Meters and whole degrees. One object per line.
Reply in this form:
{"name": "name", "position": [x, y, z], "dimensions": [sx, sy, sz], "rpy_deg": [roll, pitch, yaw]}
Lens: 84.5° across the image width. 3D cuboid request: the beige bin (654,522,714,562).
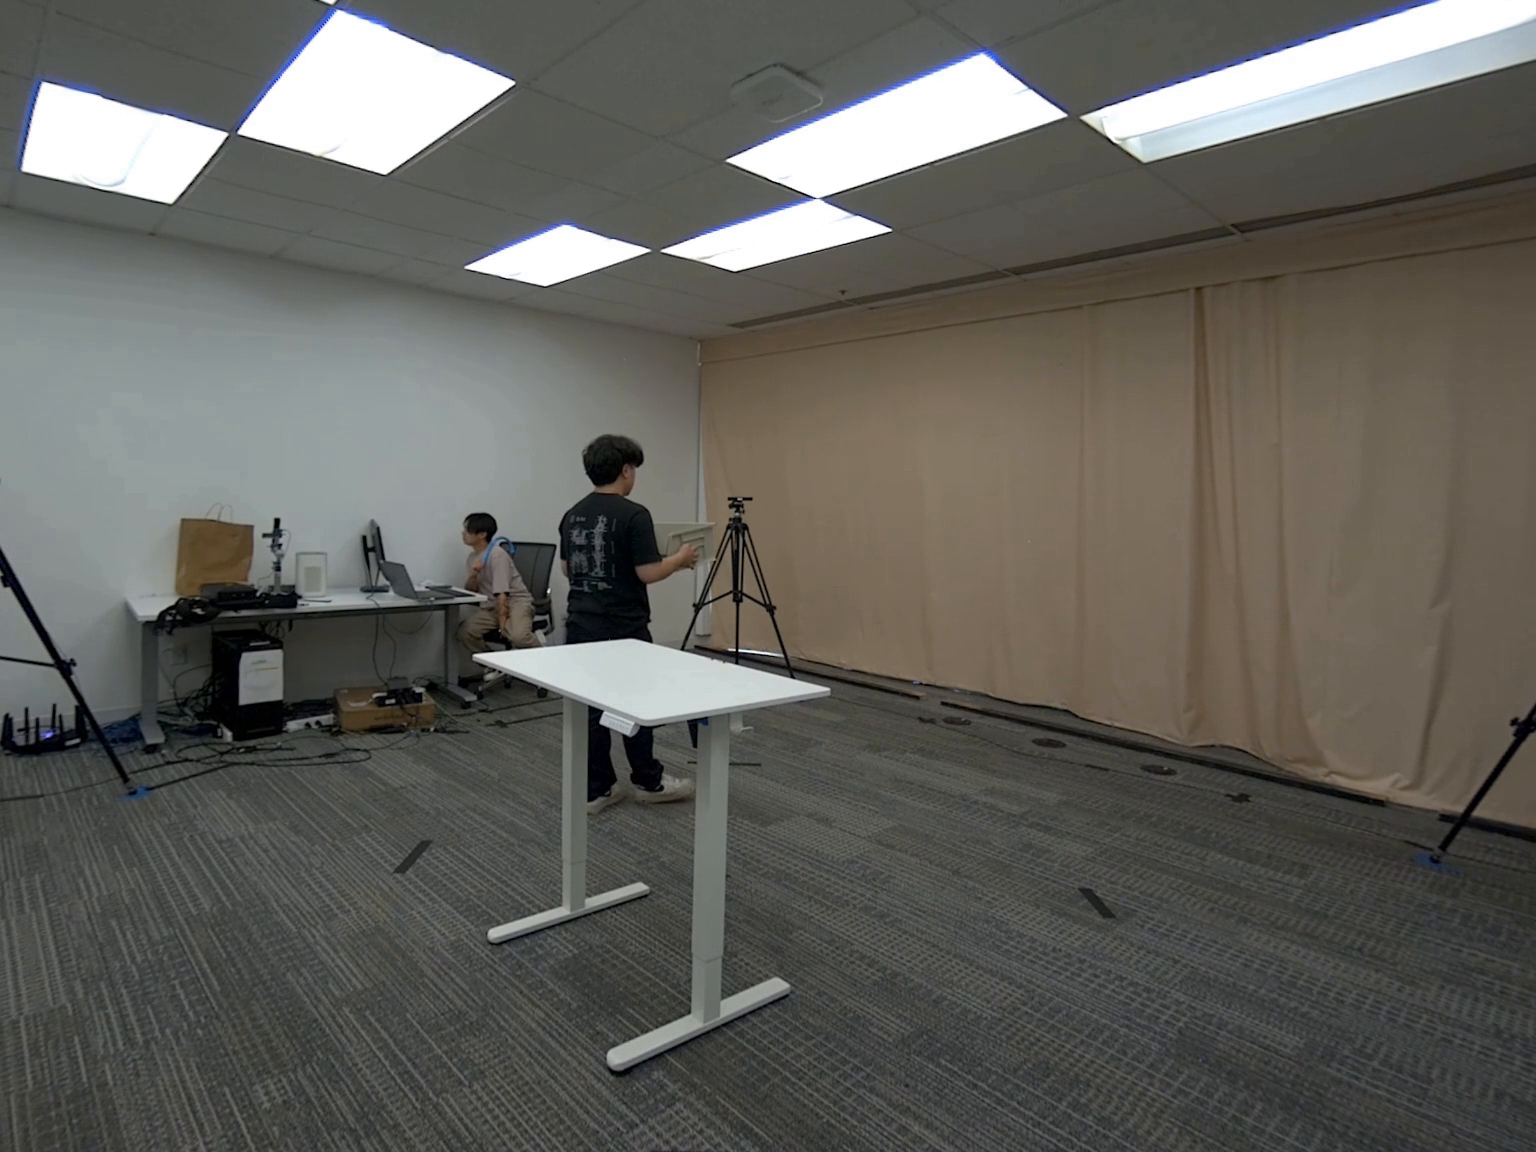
{"name": "beige bin", "position": [-0.518, -0.139, 4.006], "dimensions": [0.432, 0.188, 0.371], "rpy_deg": [2, 10, 34]}
